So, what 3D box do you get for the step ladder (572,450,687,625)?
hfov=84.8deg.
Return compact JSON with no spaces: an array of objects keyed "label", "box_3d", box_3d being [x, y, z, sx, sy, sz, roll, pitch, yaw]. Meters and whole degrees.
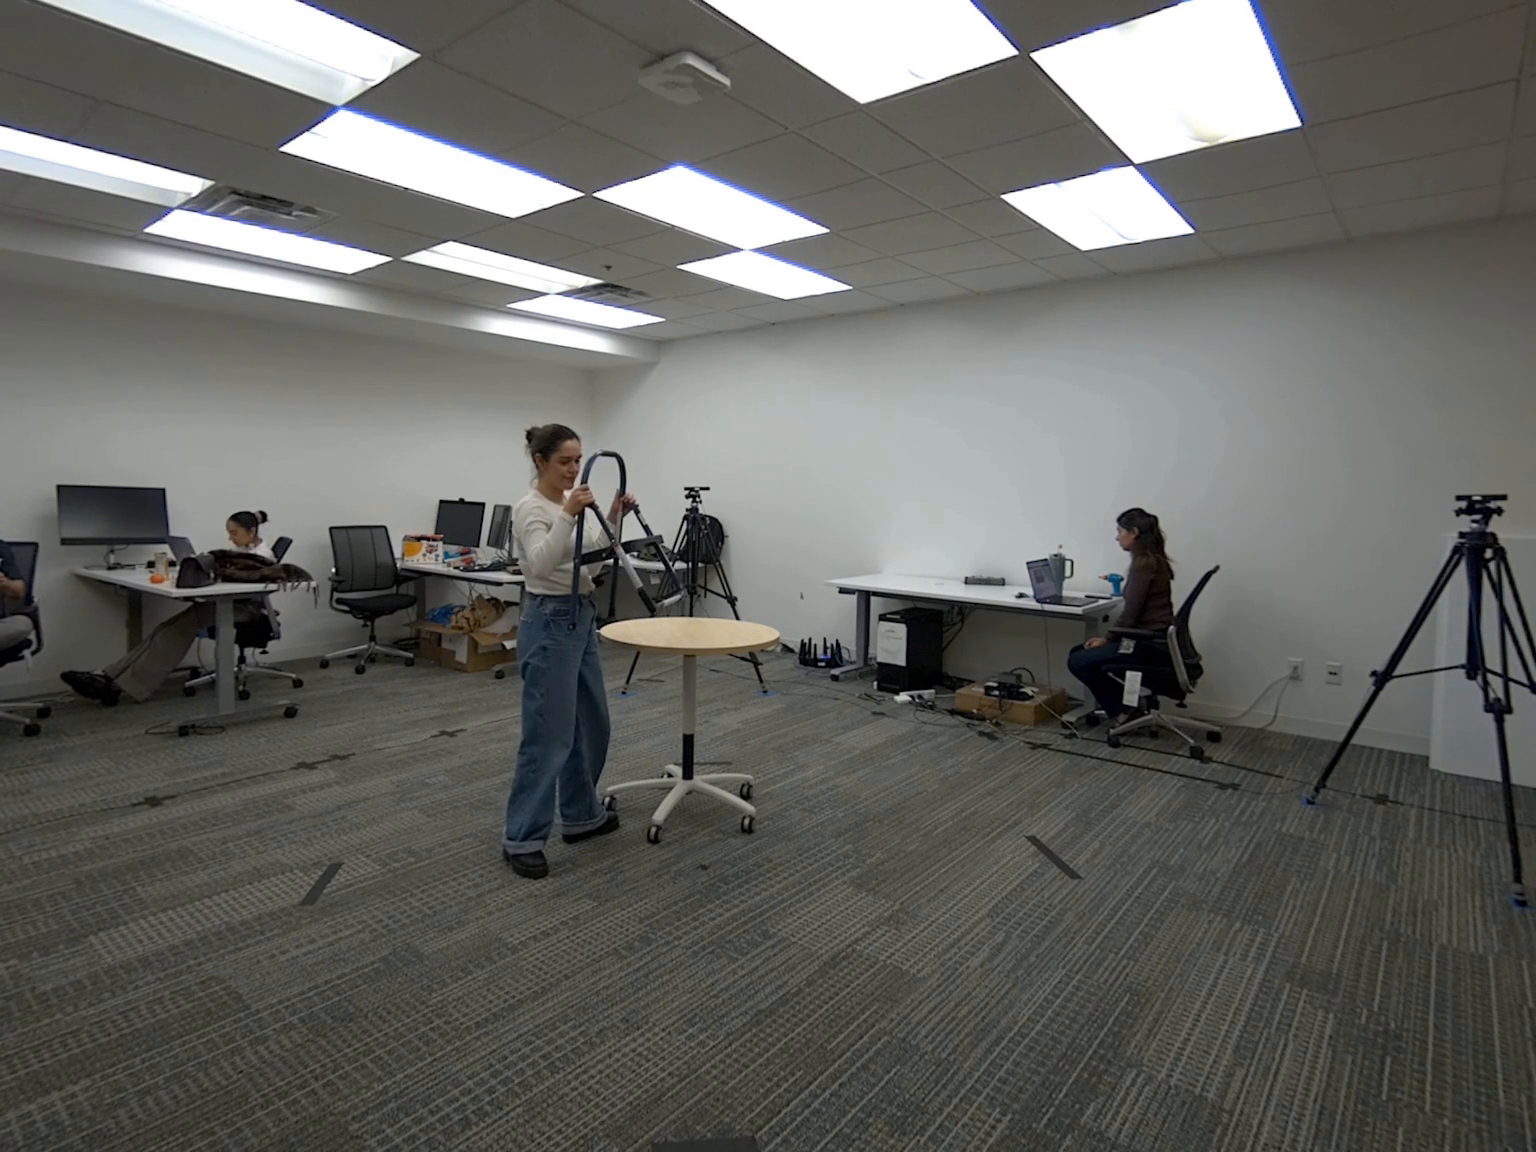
[{"label":"step ladder","box_3d":[-0.601,-0.145,3.124,0.353,0.605,0.427,-15,2,13]}]
